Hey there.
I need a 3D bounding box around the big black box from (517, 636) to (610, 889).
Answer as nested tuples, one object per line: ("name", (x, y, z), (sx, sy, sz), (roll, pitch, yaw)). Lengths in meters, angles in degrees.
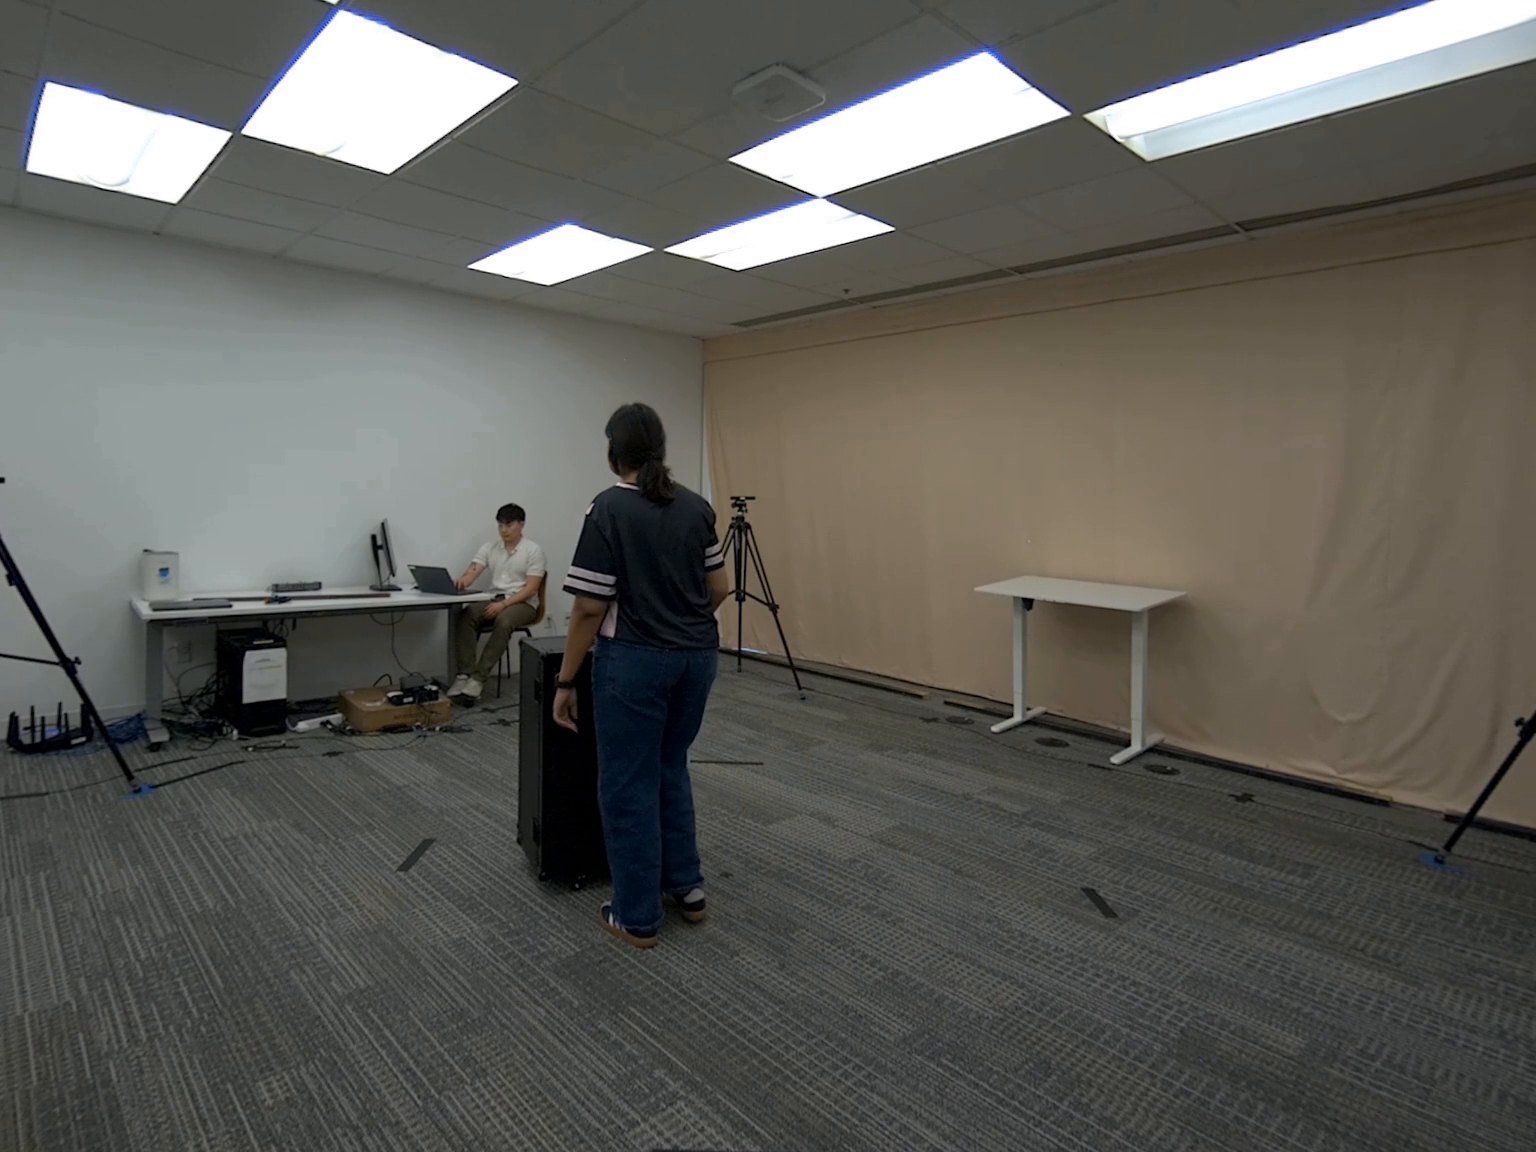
("big black box", (-0.658, 0.668, 3.115), (0.513, 0.866, 0.394), (0, 4, -28))
